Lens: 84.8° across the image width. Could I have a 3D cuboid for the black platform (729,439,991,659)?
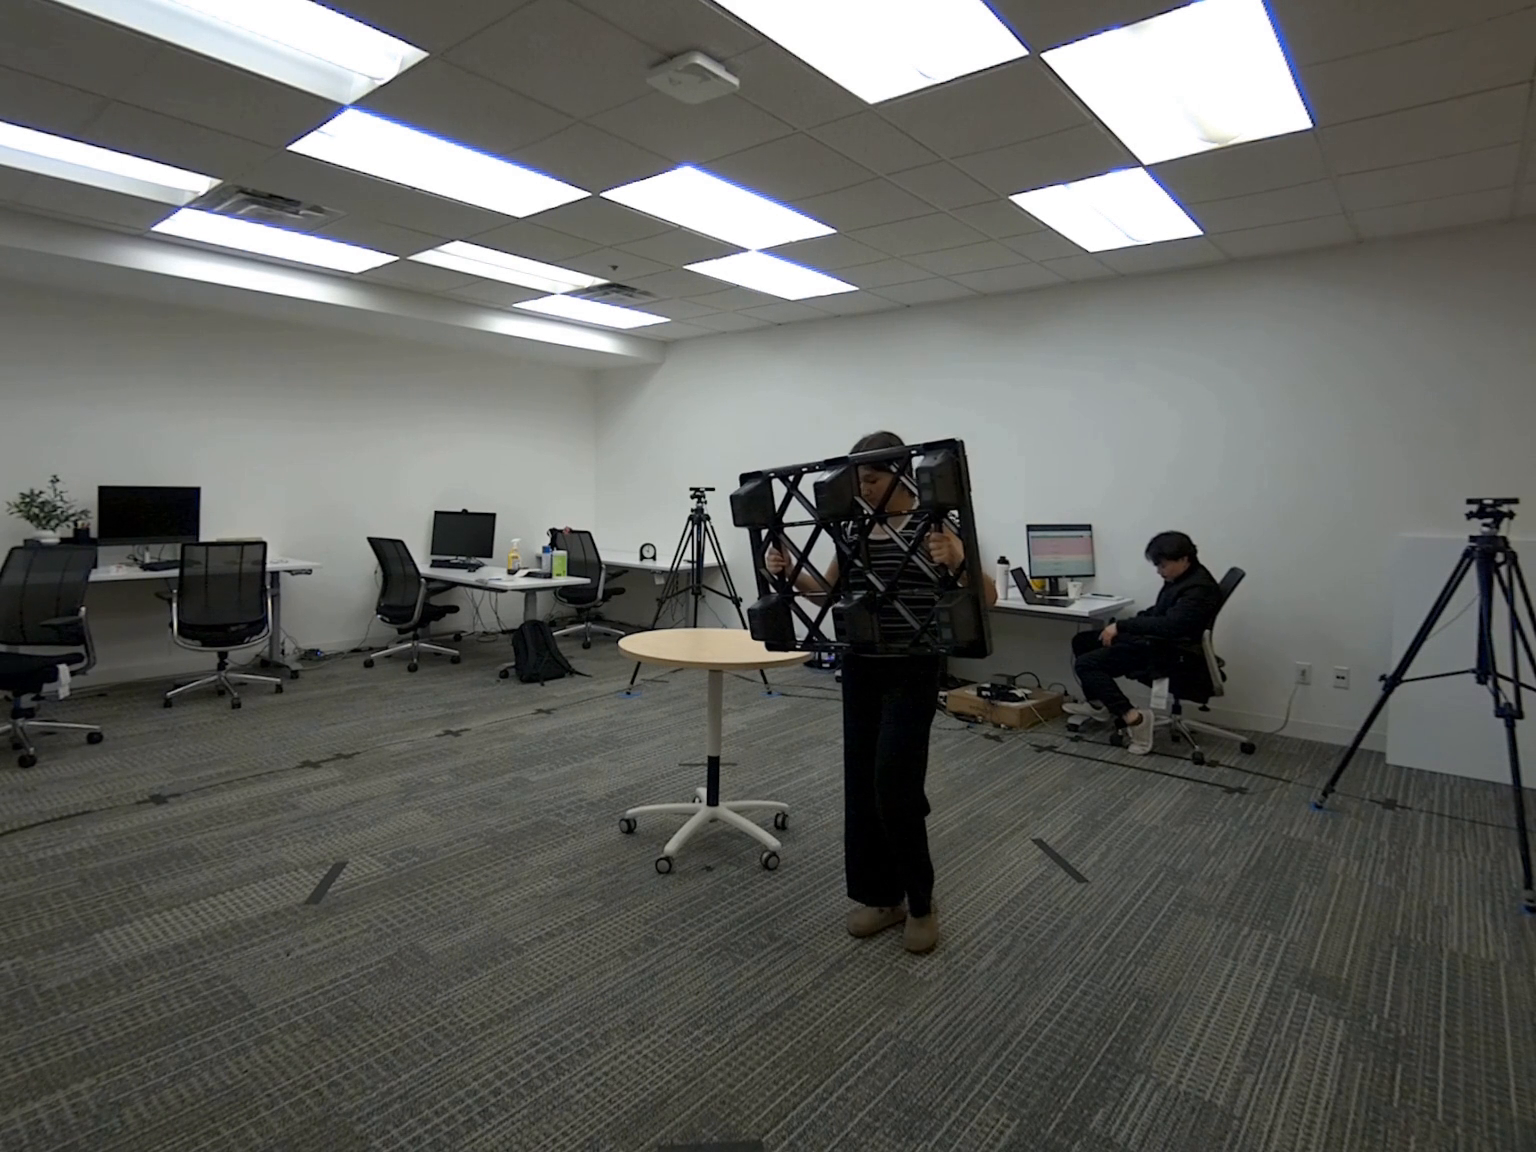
[{"bbox_3d":[0.211,-0.056,2.523,0.829,0.603,0.140,-4,6,44],"label":"black platform"}]
